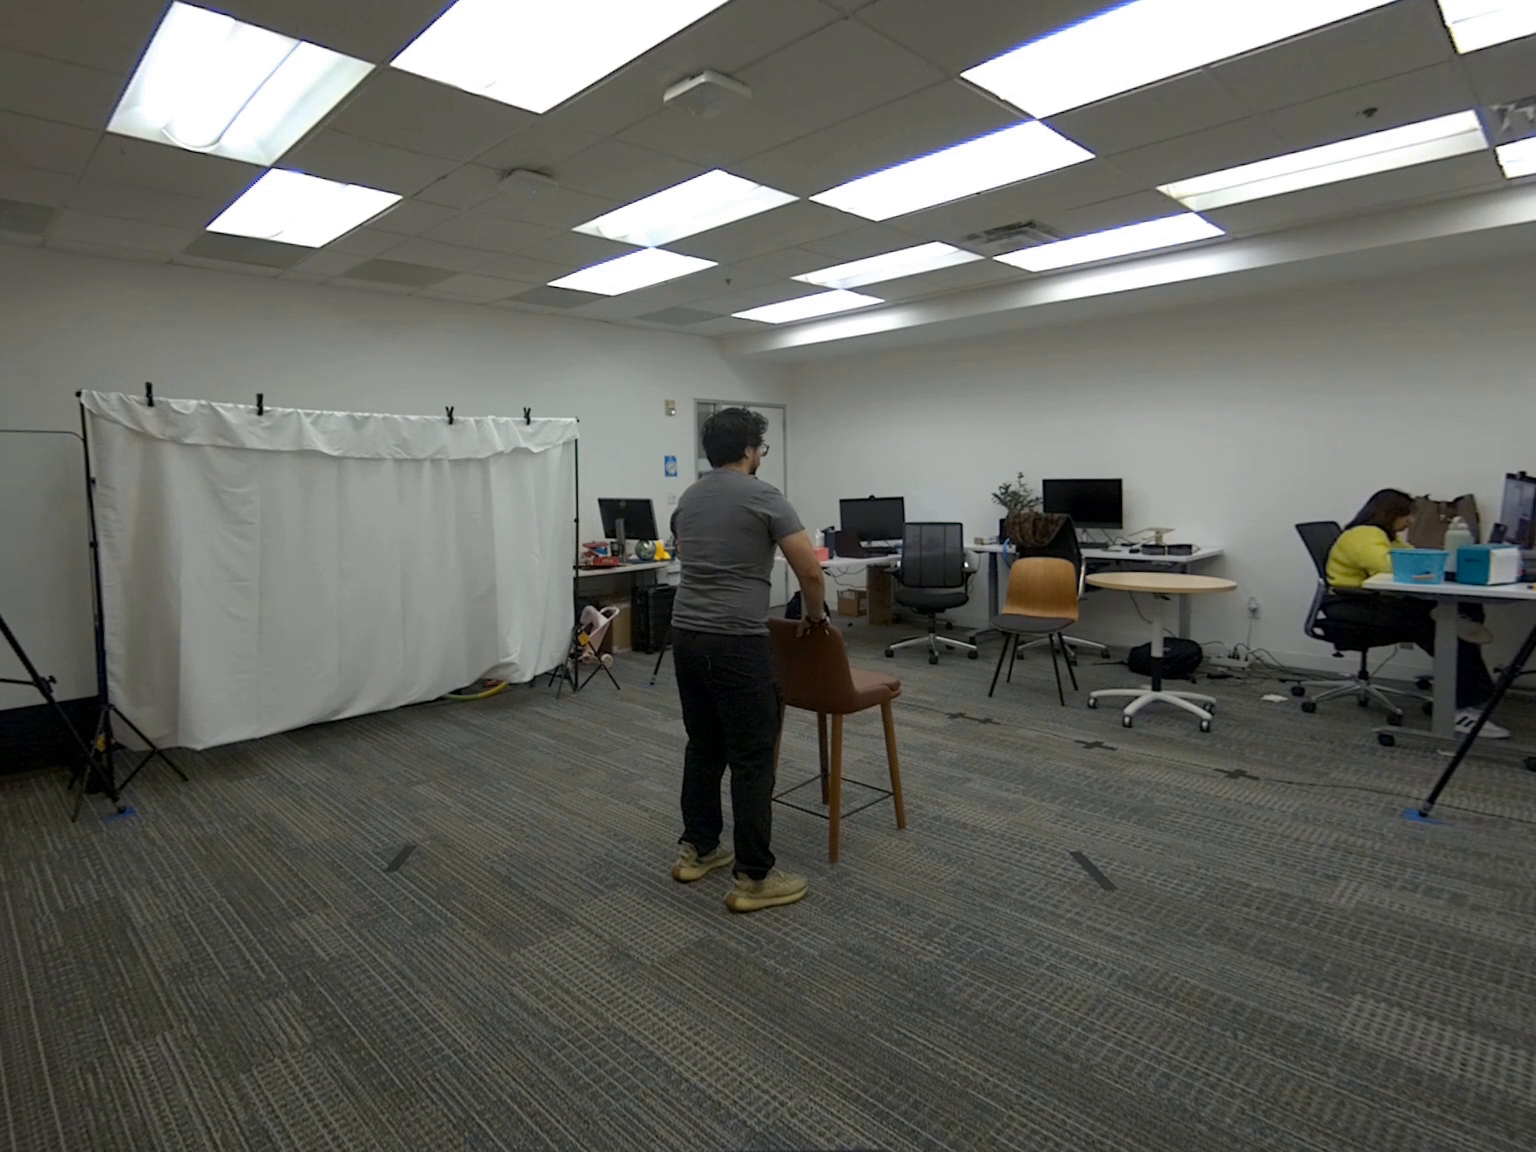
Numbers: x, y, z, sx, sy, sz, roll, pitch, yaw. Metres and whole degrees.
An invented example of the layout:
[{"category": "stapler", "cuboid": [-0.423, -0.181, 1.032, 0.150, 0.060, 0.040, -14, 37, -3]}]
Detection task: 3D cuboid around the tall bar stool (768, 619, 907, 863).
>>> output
[{"category": "tall bar stool", "cuboid": [0.235, 0.571, 3.343, 0.470, 0.885, 0.456, 3, 7, 44]}]
